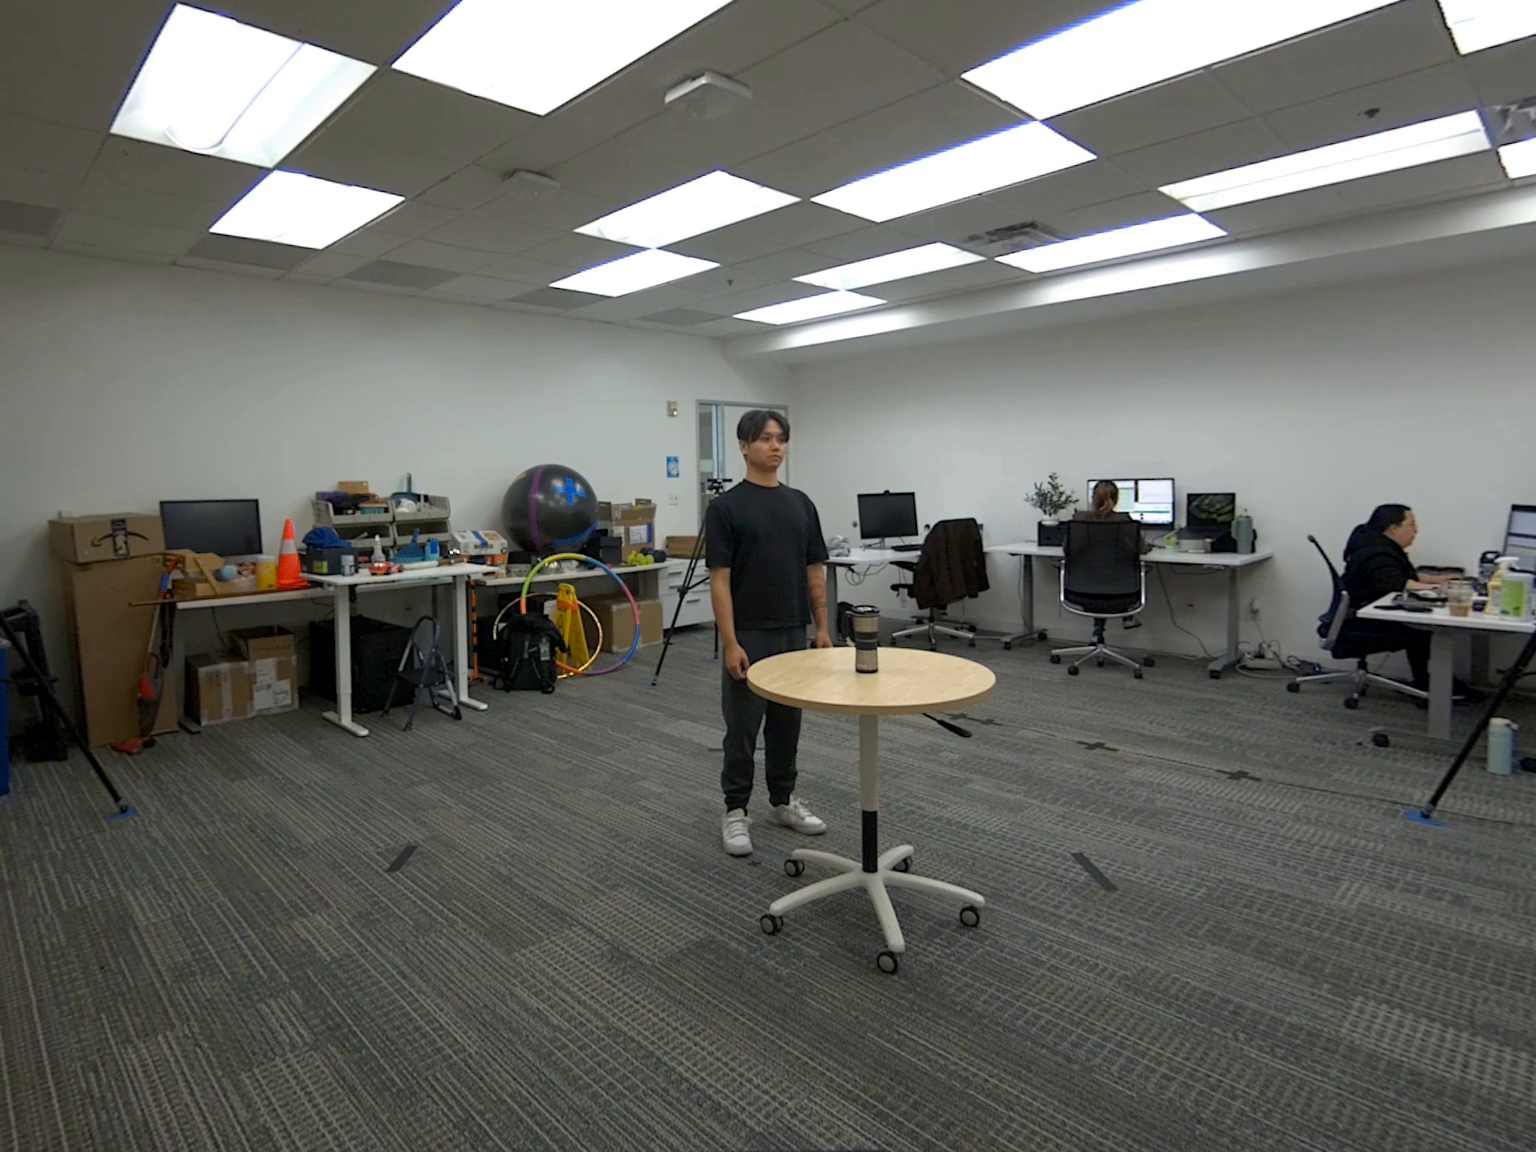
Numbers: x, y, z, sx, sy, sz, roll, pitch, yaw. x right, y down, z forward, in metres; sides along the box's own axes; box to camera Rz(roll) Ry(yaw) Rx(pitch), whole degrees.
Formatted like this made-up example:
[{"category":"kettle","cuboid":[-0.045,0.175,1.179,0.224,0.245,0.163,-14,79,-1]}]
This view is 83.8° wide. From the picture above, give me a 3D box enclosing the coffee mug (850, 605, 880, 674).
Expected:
[{"category":"coffee mug","cuboid":[0.296,0.201,2.717,0.086,0.201,0.126,-9,11,-32]}]
